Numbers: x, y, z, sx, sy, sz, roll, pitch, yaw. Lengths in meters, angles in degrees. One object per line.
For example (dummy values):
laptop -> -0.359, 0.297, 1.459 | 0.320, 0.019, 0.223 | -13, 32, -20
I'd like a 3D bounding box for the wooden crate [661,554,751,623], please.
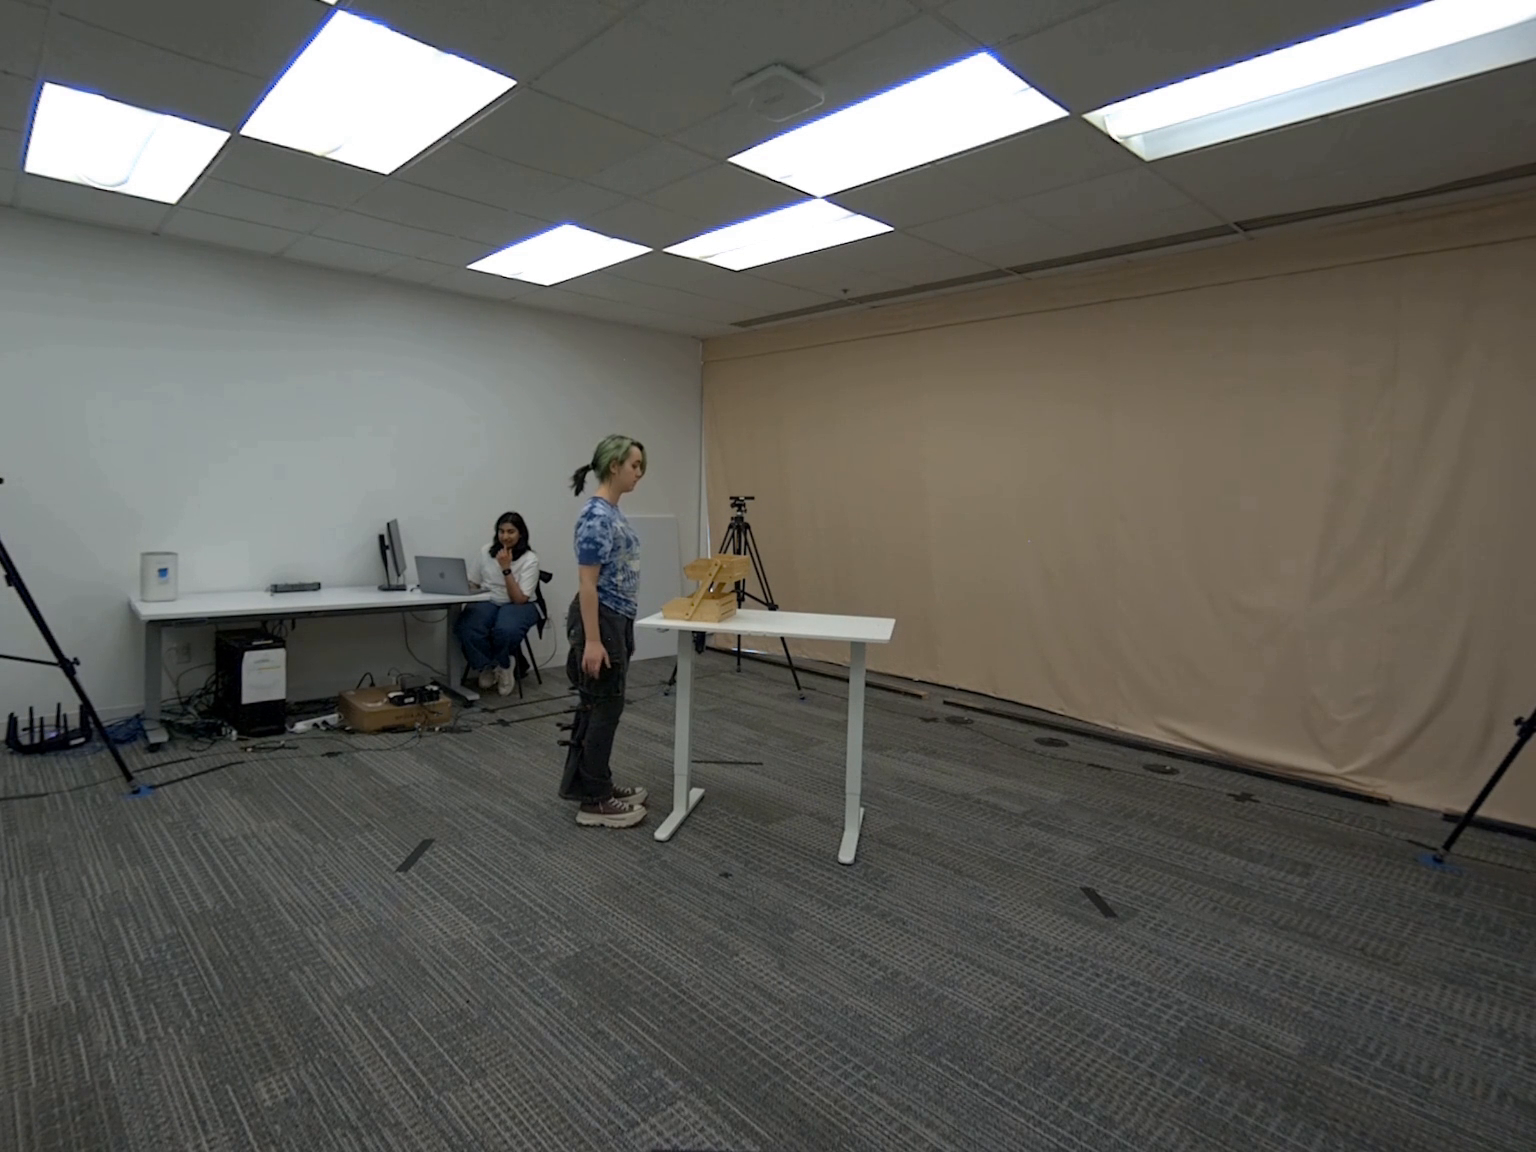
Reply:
wooden crate -> -0.276, 0.041, 3.584 | 0.305, 0.272, 0.322 | 4, 4, 12
